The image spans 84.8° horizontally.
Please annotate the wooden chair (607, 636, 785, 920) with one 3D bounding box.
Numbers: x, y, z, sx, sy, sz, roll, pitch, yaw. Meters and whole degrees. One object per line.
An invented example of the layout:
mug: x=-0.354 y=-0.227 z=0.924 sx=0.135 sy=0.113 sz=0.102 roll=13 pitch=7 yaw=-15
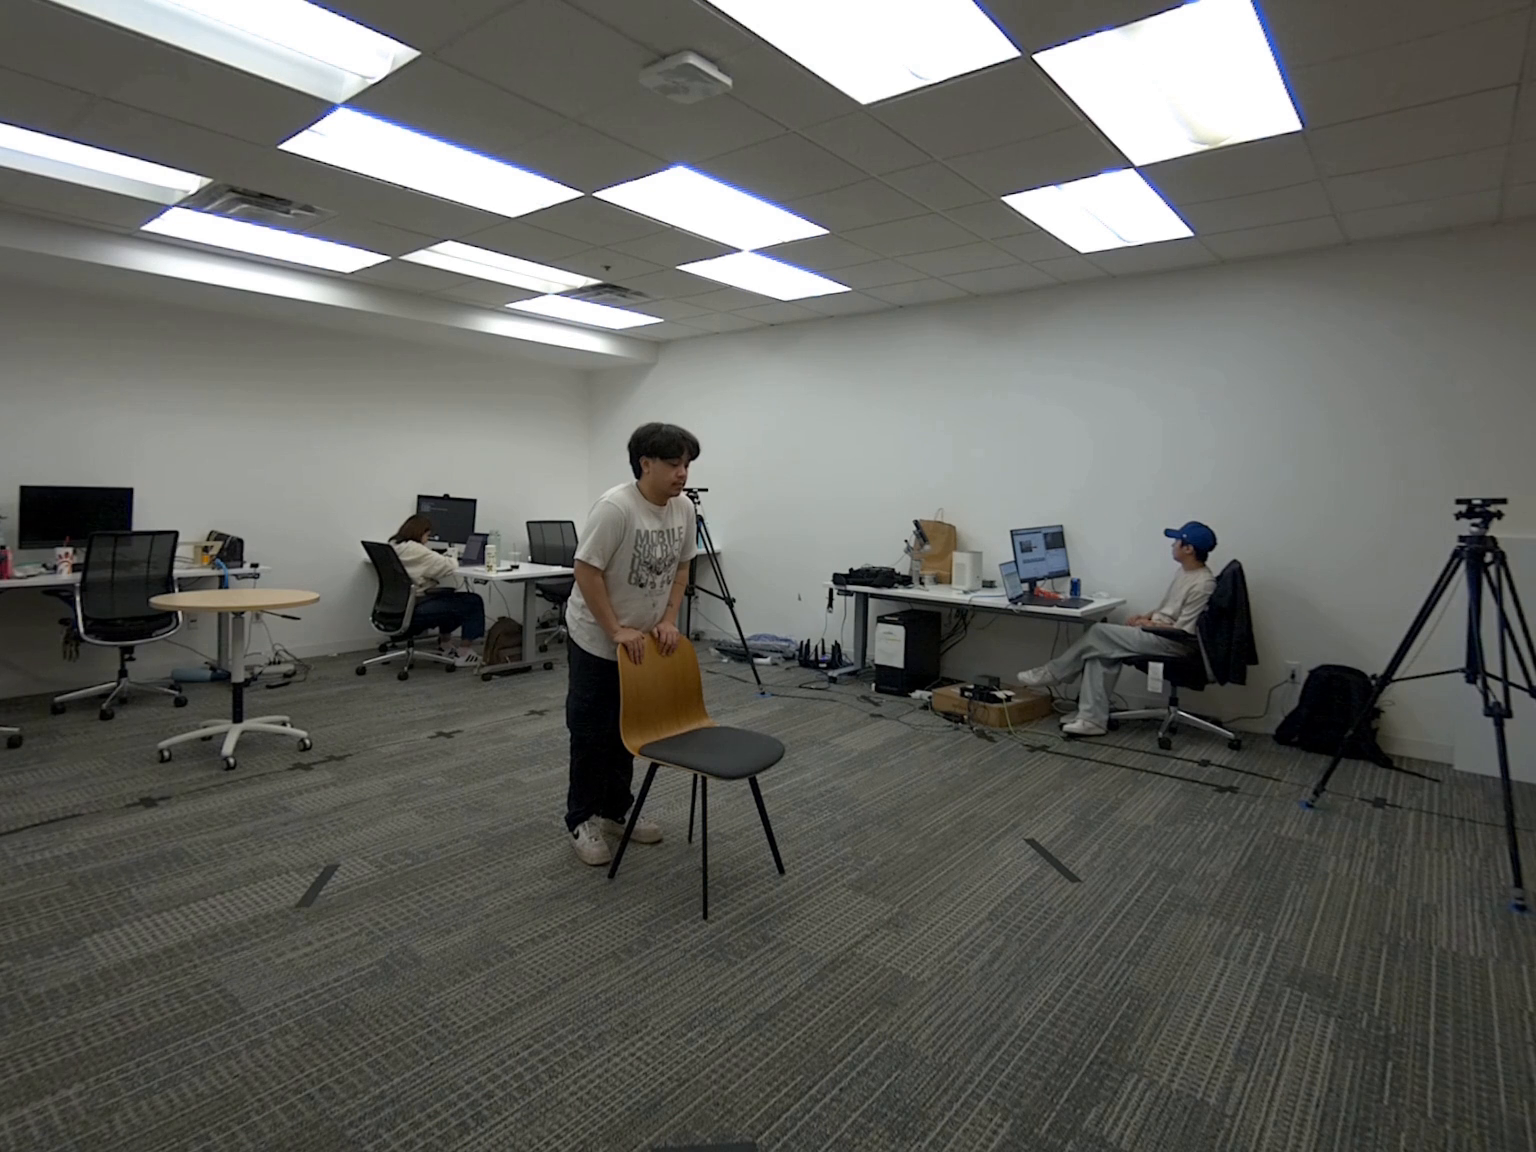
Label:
wooden chair: x=-0.246 y=0.652 z=3.017 sx=0.539 sy=0.878 sz=0.464 roll=-2 pitch=0 yaw=38
